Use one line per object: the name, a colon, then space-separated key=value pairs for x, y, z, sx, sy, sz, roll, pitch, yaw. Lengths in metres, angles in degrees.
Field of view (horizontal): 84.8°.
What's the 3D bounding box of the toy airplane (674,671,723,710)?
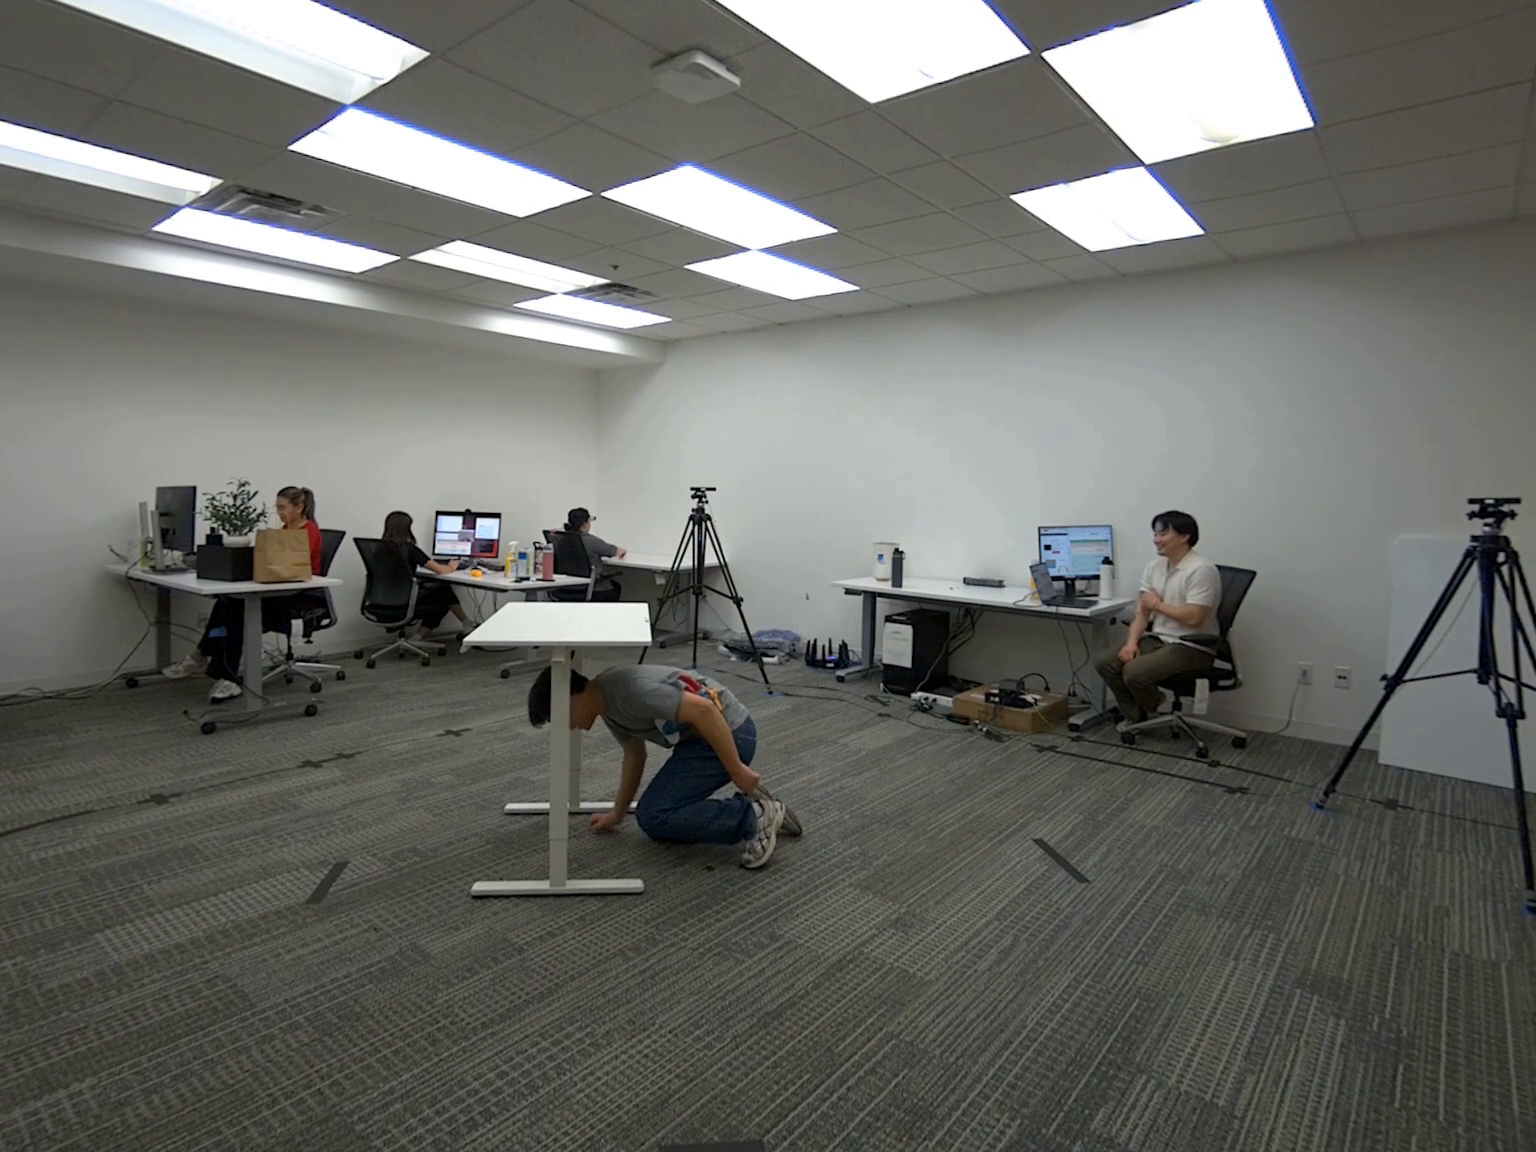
toy airplane: x=-0.303 y=0.523 z=3.192 sx=0.248 sy=0.260 sz=0.158 roll=21 pitch=-5 yaw=-9
